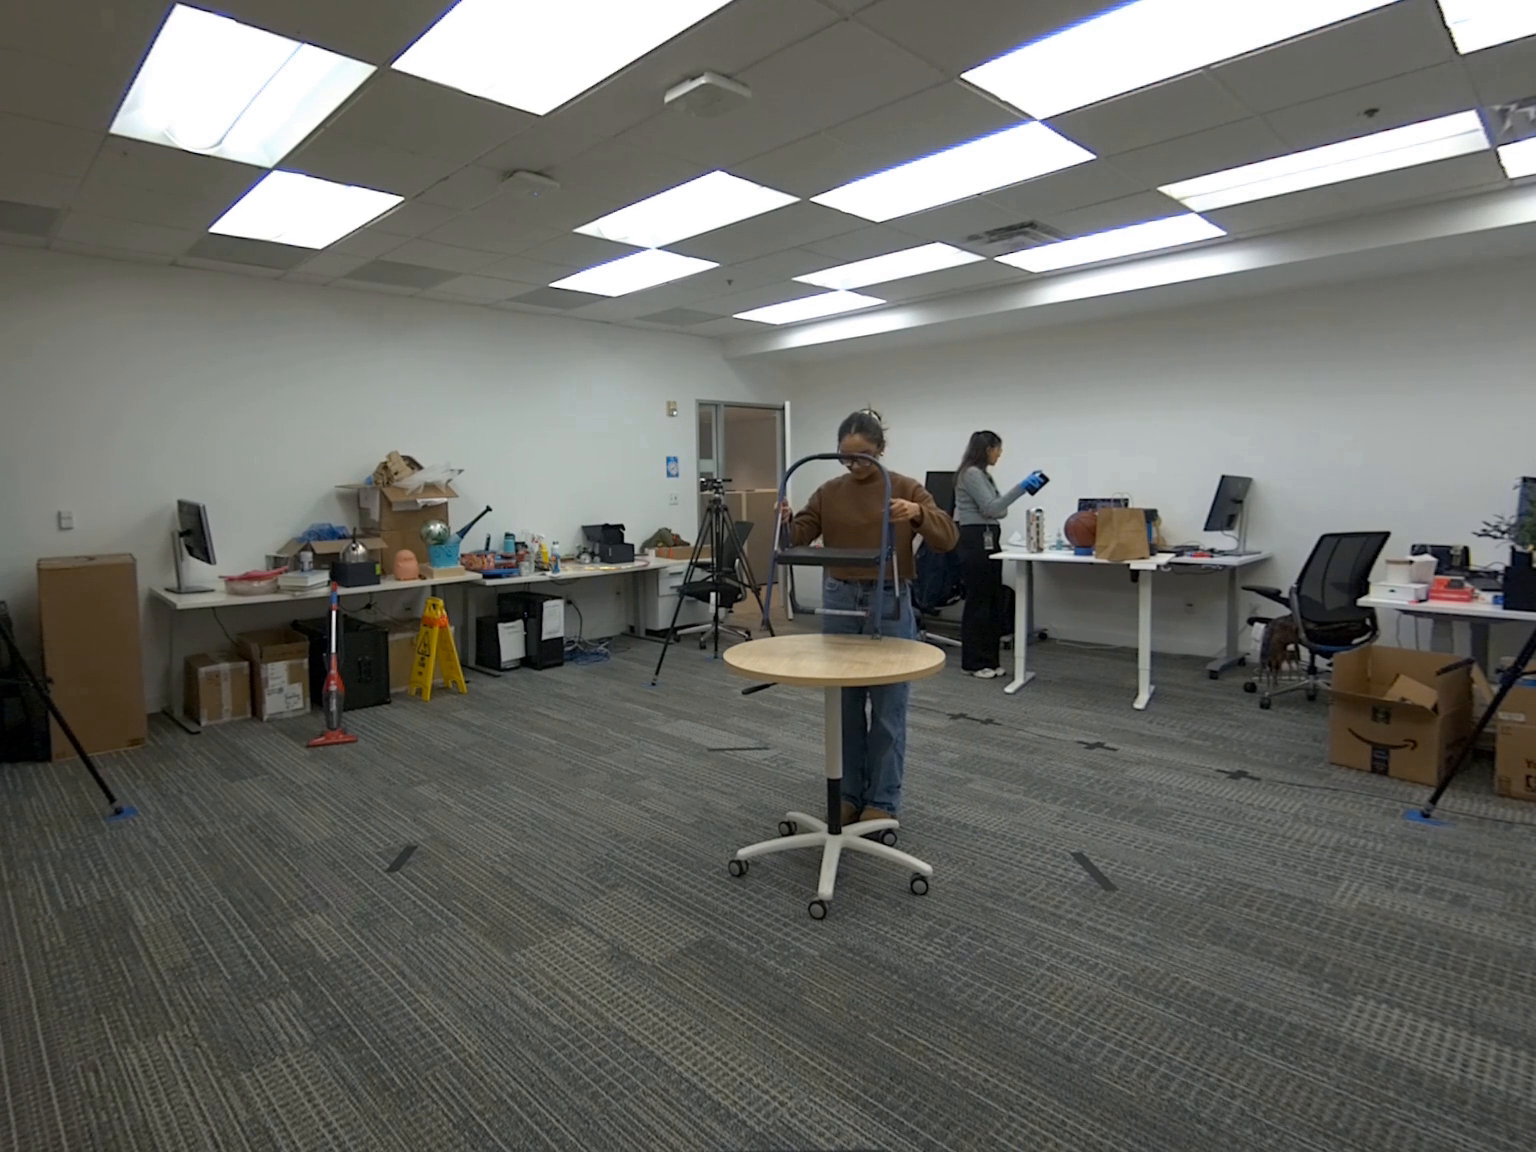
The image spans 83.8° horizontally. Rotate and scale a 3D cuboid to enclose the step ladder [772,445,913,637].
[{"bbox_3d":[0.226,-0.122,3.005,0.440,0.603,0.343,2,6,23],"label":"step ladder"}]
